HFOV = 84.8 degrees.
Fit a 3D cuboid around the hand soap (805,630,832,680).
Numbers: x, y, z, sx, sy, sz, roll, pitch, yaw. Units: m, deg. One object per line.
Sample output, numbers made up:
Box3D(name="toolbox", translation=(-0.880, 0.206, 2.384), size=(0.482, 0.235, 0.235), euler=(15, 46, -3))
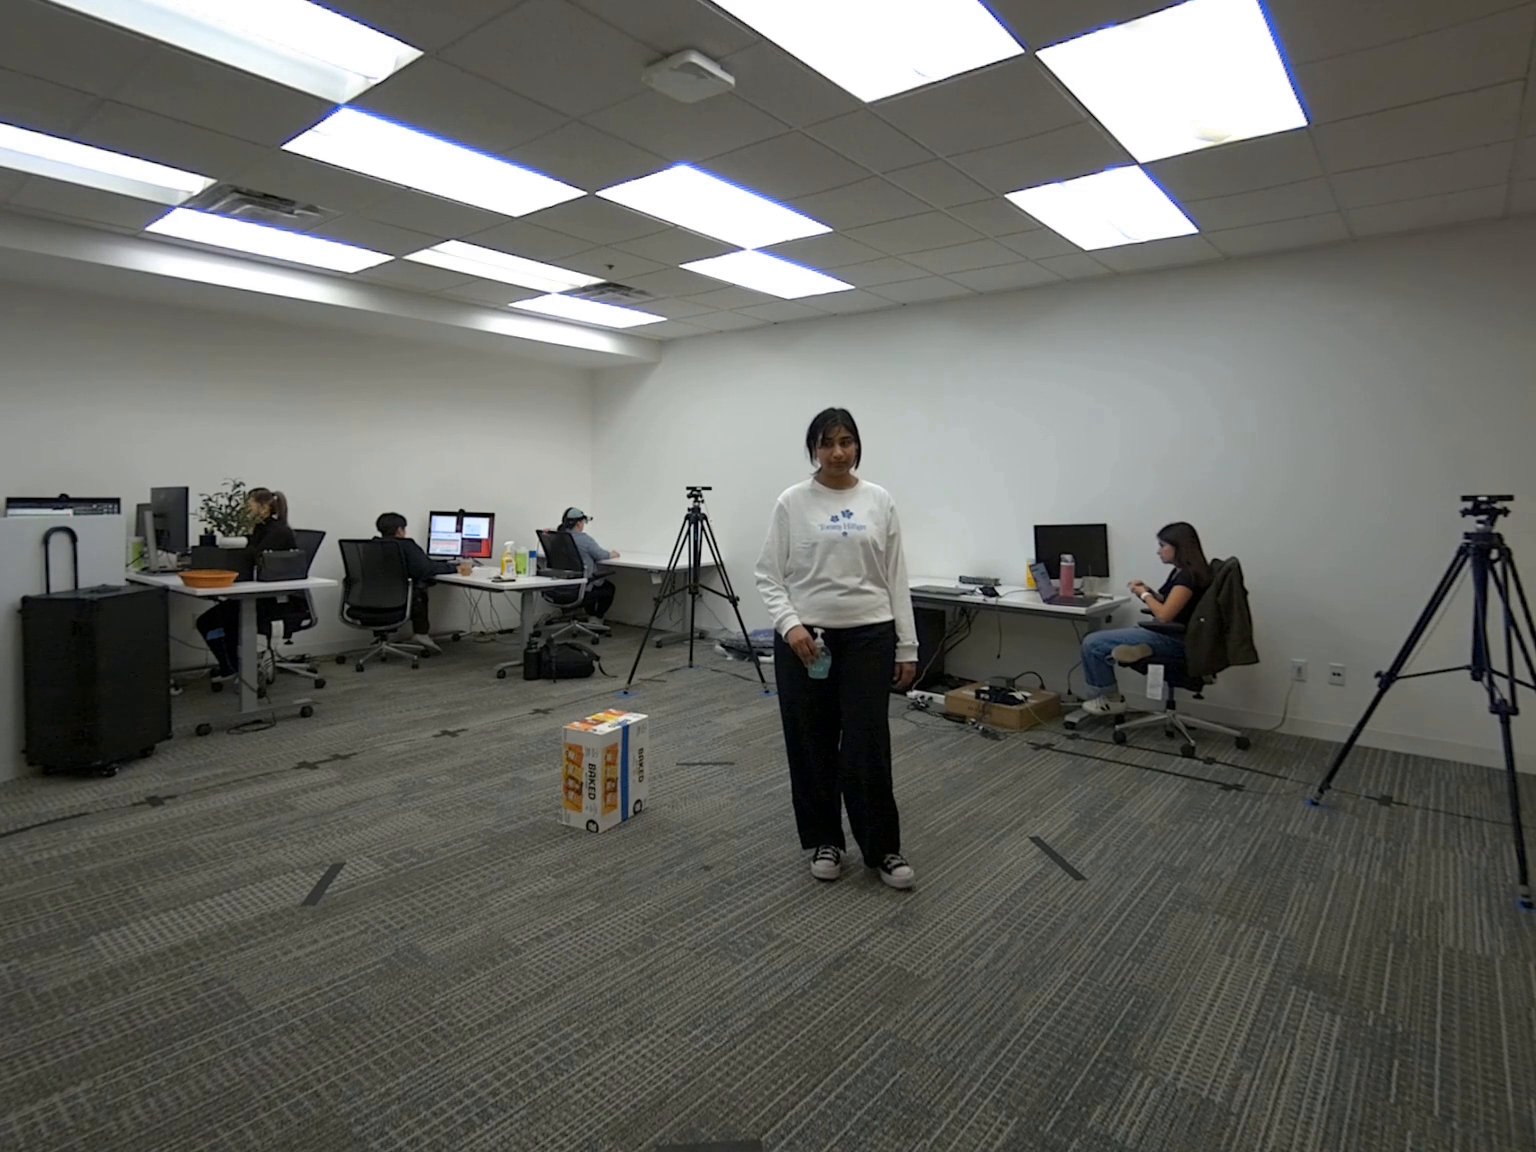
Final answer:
Box3D(name="hand soap", translation=(0.173, 0.264, 2.911), size=(0.085, 0.167, 0.043), euler=(1, 5, 5))
